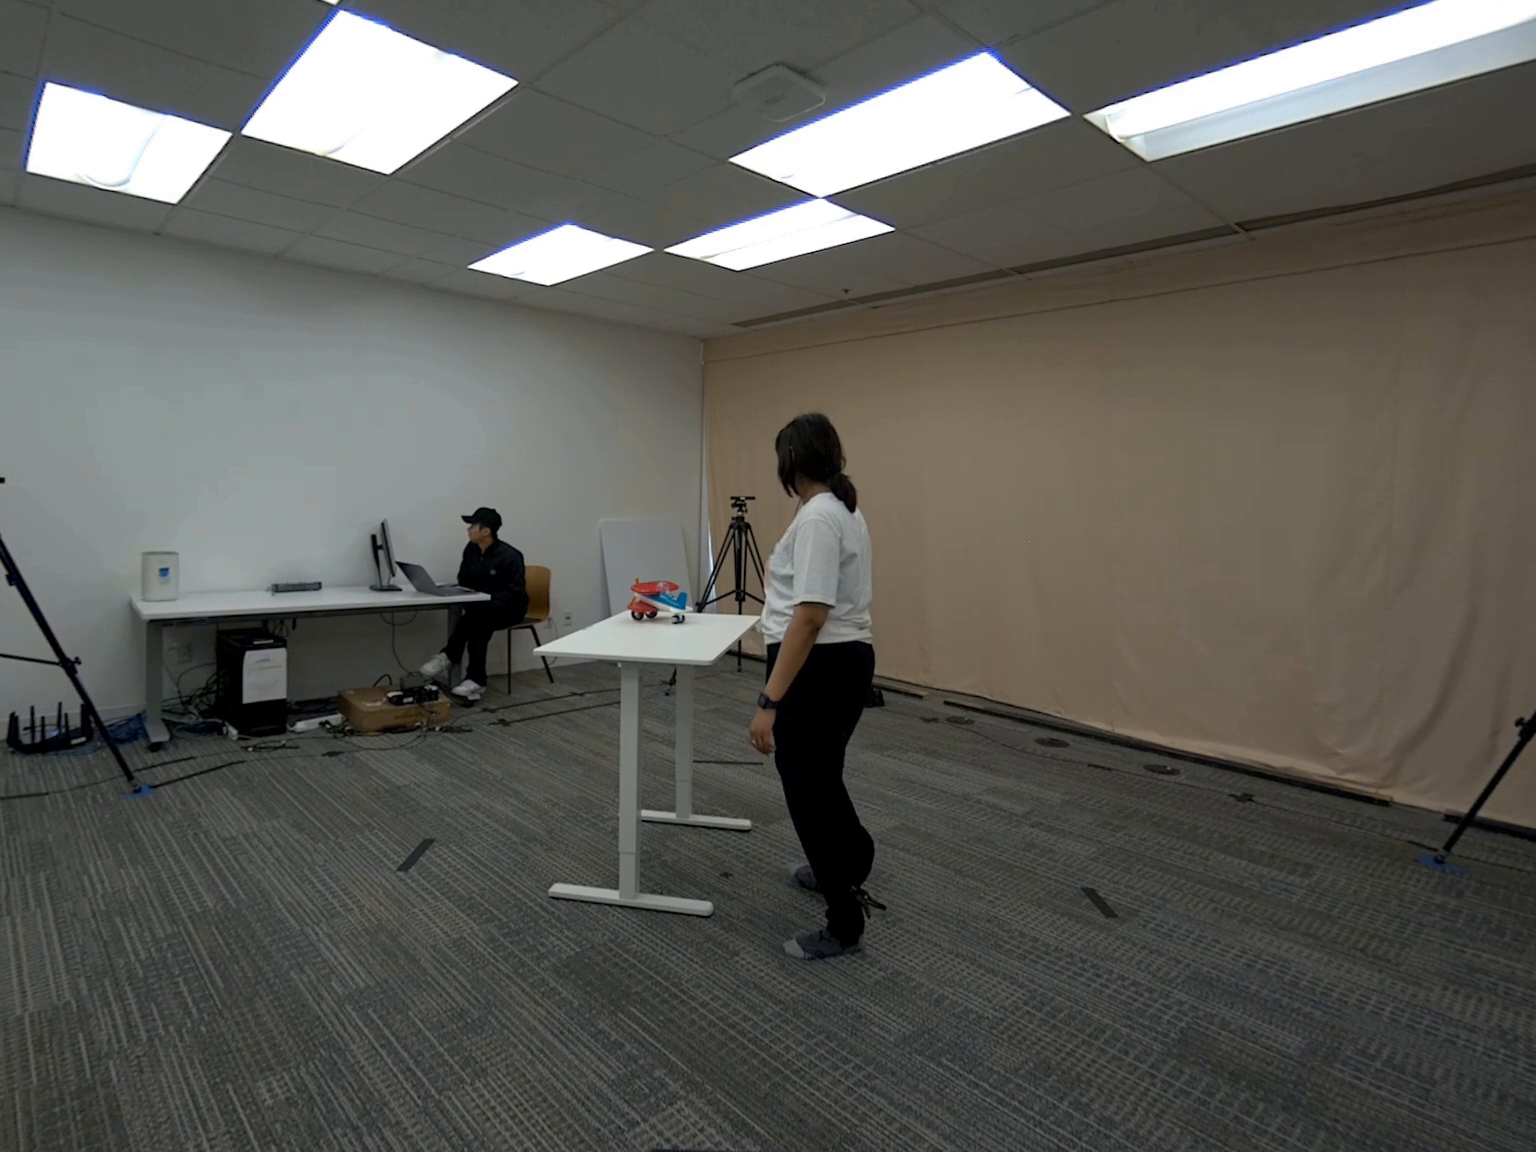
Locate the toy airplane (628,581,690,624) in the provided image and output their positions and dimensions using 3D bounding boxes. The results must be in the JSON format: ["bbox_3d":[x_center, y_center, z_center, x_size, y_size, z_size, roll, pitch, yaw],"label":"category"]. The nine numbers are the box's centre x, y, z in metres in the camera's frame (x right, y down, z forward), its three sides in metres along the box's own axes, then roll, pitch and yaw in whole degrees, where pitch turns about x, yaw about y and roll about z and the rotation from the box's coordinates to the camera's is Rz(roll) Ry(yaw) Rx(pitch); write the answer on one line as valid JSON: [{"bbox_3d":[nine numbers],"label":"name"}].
[{"bbox_3d":[-0.440,0.104,3.453,0.260,0.156,0.251,-1,5,5],"label":"toy airplane"}]
